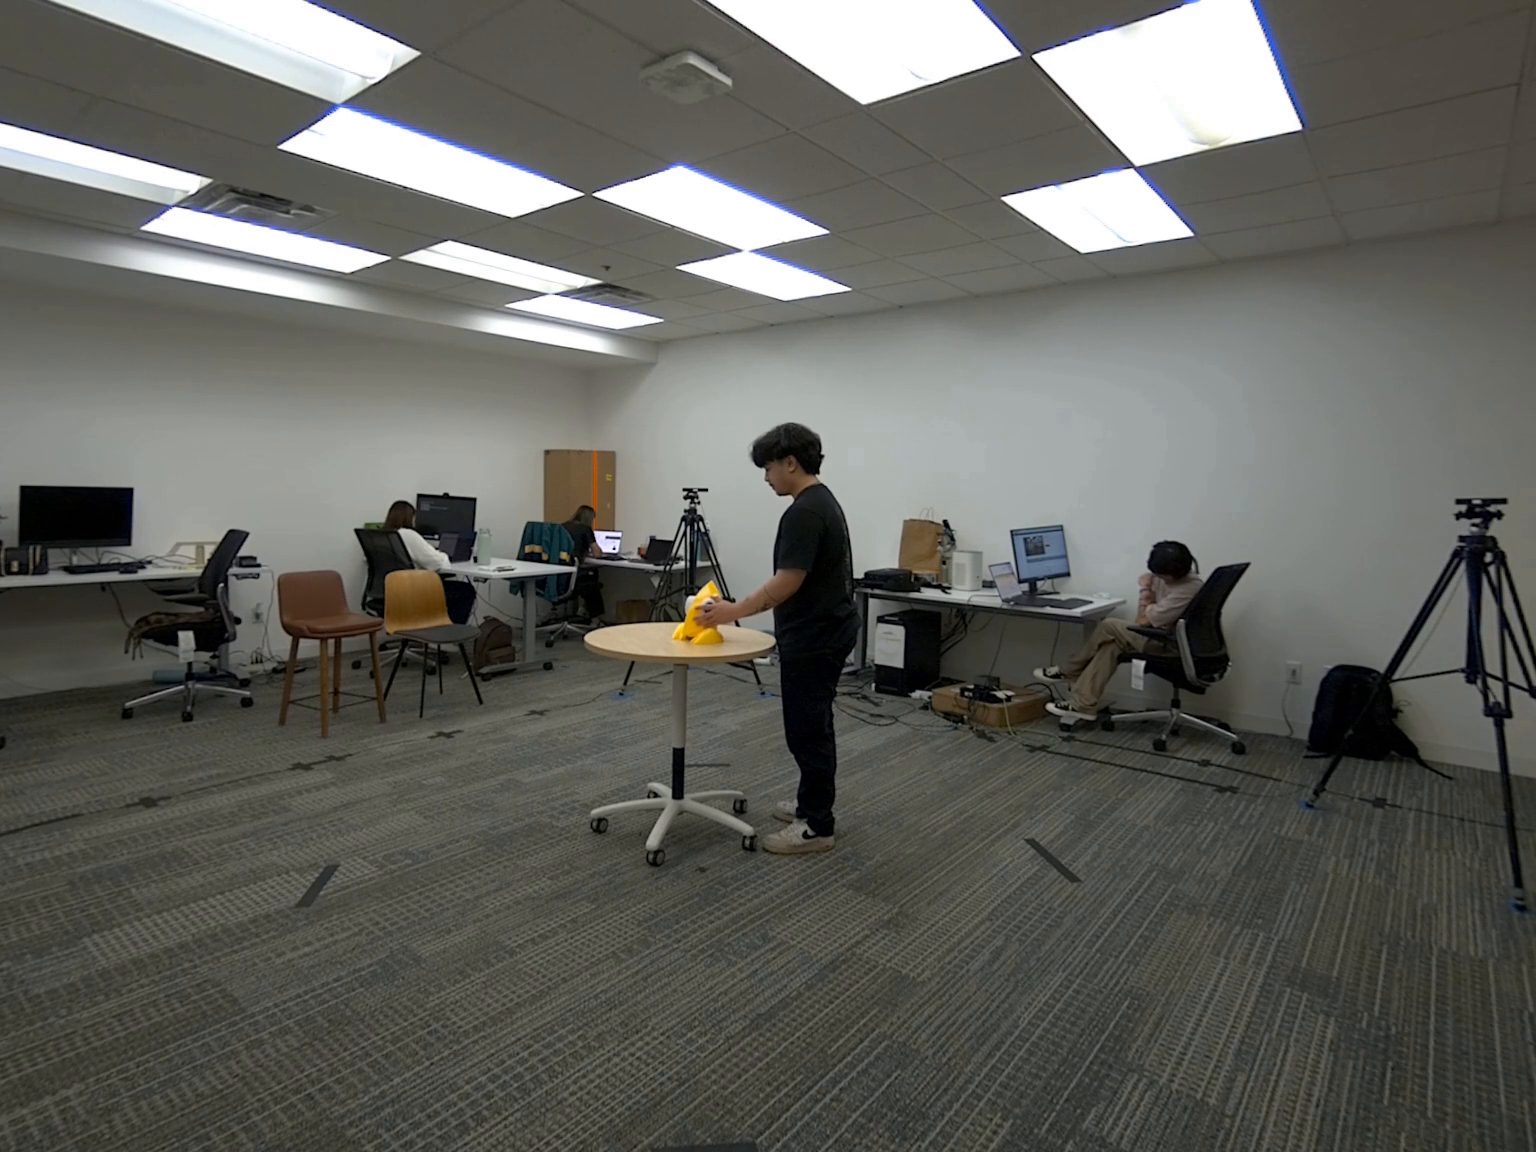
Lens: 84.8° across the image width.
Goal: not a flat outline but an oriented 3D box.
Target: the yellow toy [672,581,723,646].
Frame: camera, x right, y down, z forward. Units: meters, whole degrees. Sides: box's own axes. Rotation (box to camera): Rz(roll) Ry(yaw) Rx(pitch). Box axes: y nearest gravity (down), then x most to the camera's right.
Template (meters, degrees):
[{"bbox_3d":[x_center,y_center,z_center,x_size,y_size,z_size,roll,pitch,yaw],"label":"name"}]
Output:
[{"bbox_3d":[-0.283,0.134,3.400,0.212,0.230,0.187,5,7,43],"label":"yellow toy"}]
